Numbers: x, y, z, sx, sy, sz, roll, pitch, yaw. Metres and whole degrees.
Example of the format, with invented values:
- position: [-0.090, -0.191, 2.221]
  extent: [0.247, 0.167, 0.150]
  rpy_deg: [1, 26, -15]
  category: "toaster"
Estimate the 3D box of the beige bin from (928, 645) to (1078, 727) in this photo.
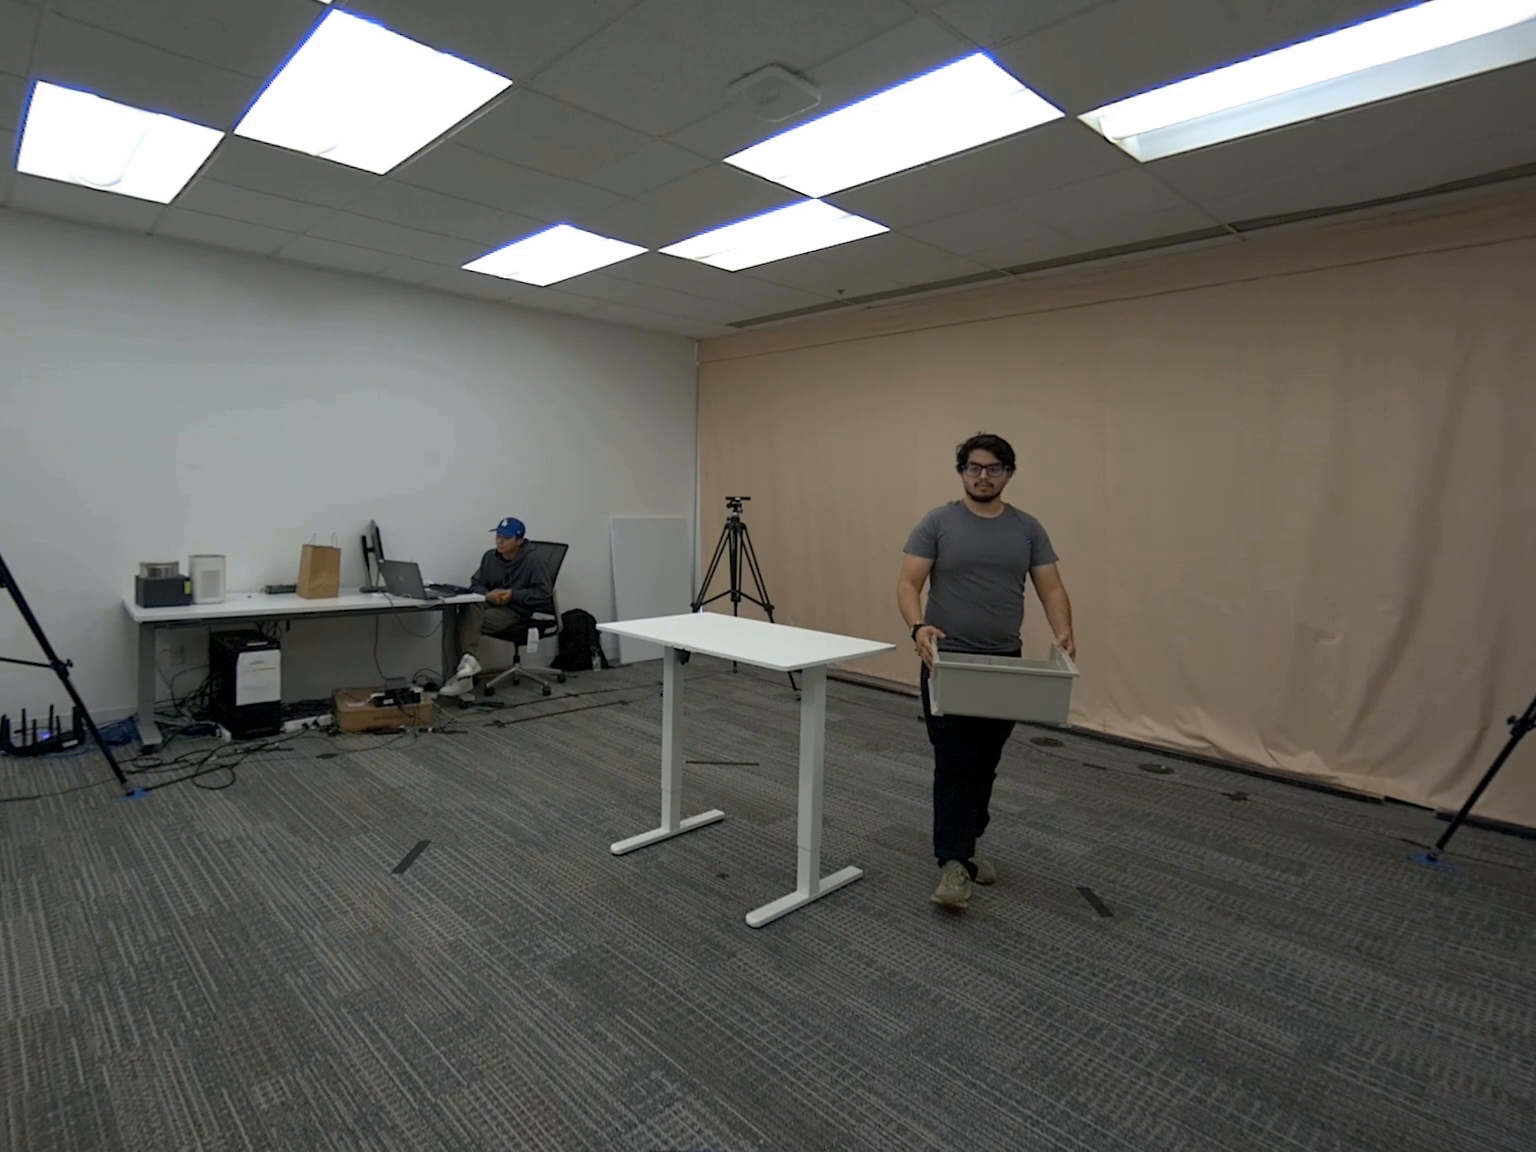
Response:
- position: [0.725, 0.313, 2.713]
  extent: [0.425, 0.187, 0.378]
  rpy_deg: [4, 15, 8]
  category: "beige bin"
